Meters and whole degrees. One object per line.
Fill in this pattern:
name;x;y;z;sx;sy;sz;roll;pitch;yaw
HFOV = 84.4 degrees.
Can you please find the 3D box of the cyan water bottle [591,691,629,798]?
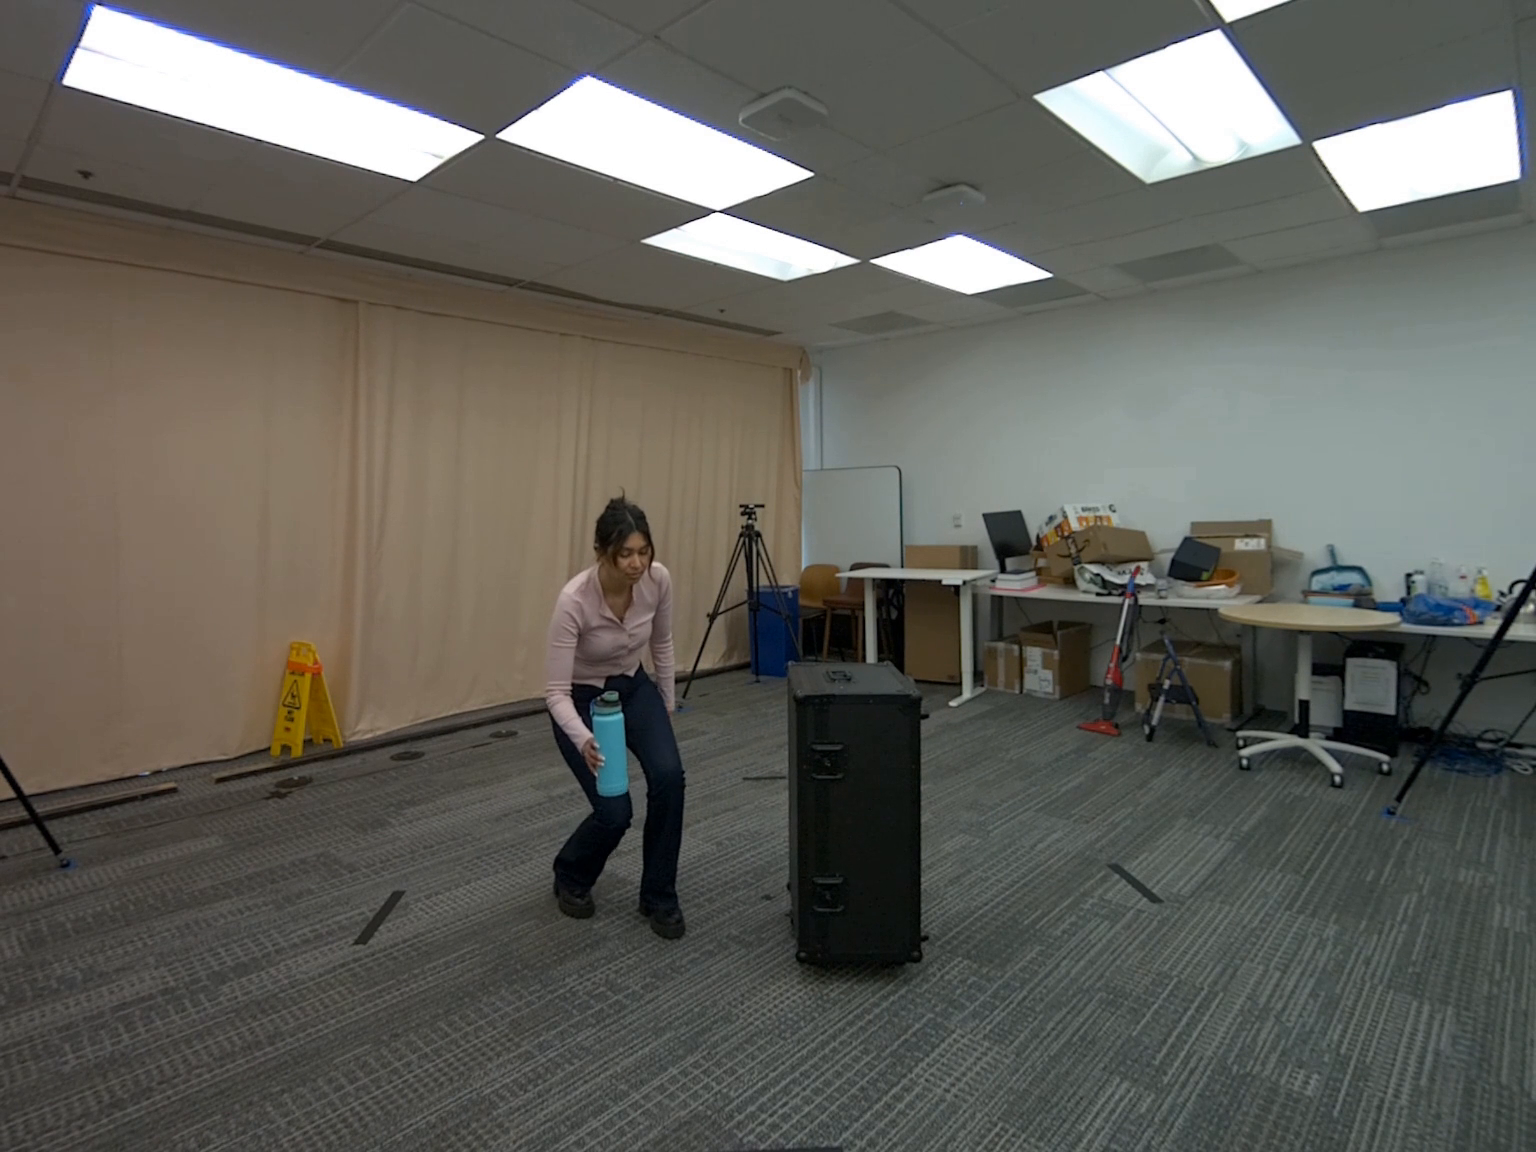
cyan water bottle;-0.463;0.473;2.397;0.092;0.282;0.092;-6;4;-1
